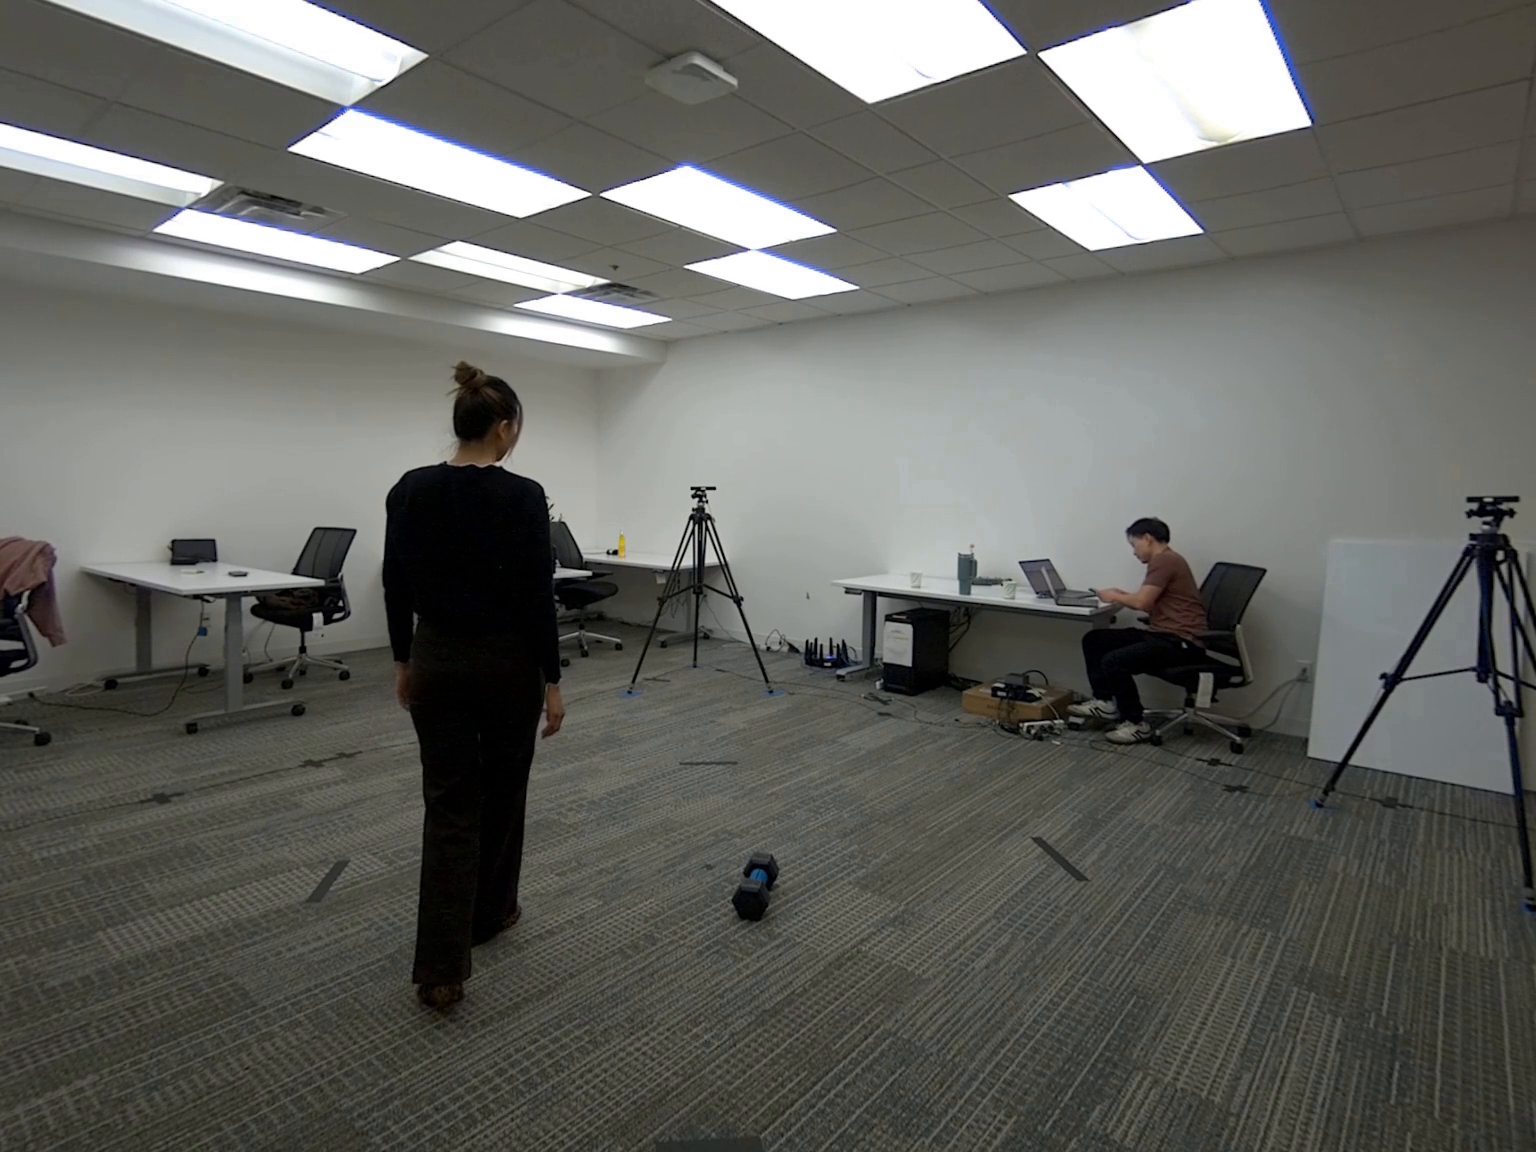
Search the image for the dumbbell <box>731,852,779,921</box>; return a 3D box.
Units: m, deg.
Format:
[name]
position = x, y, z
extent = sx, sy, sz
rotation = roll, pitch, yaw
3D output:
[dumbbell]
position = -0.046, 1.035, 2.867
extent = 0.109, 0.123, 0.291
rotation = -29, 0, 10
